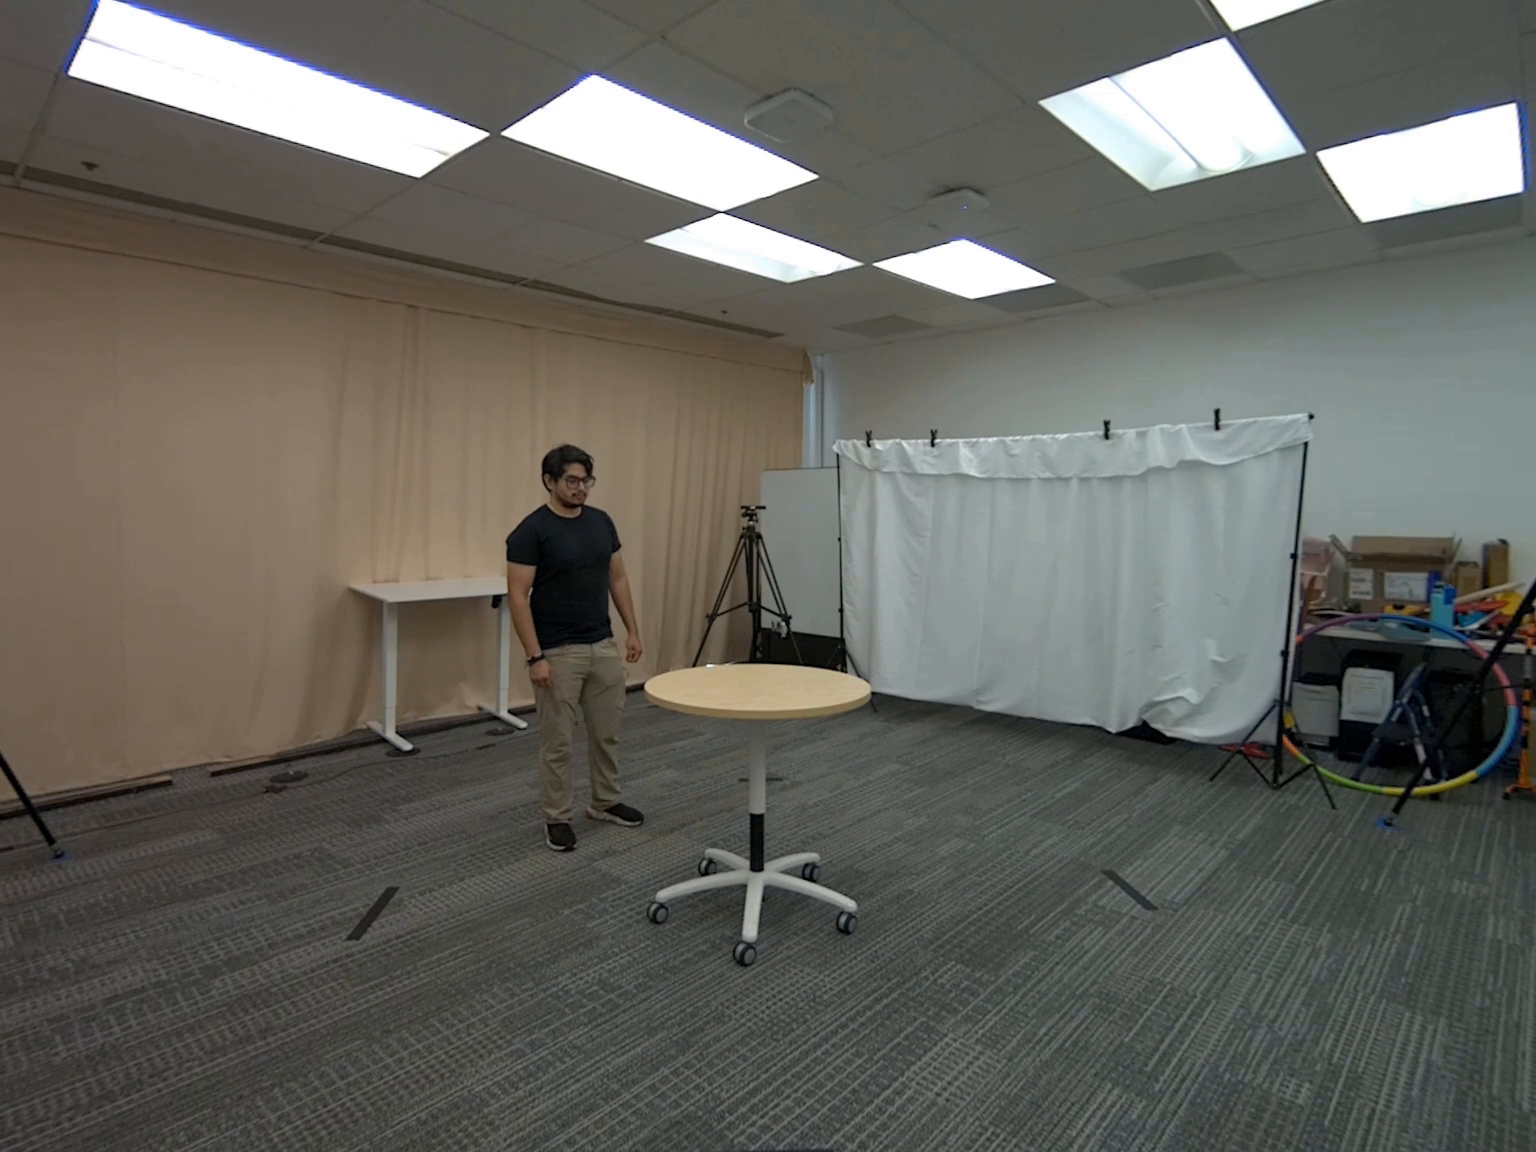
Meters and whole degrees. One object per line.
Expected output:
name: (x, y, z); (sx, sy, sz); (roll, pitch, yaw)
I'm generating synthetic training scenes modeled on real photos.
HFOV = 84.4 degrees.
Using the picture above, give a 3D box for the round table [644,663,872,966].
round table: (-0.022, 0.758, 2.890); (0.784, 0.785, 0.788); (0, 4, -2)
